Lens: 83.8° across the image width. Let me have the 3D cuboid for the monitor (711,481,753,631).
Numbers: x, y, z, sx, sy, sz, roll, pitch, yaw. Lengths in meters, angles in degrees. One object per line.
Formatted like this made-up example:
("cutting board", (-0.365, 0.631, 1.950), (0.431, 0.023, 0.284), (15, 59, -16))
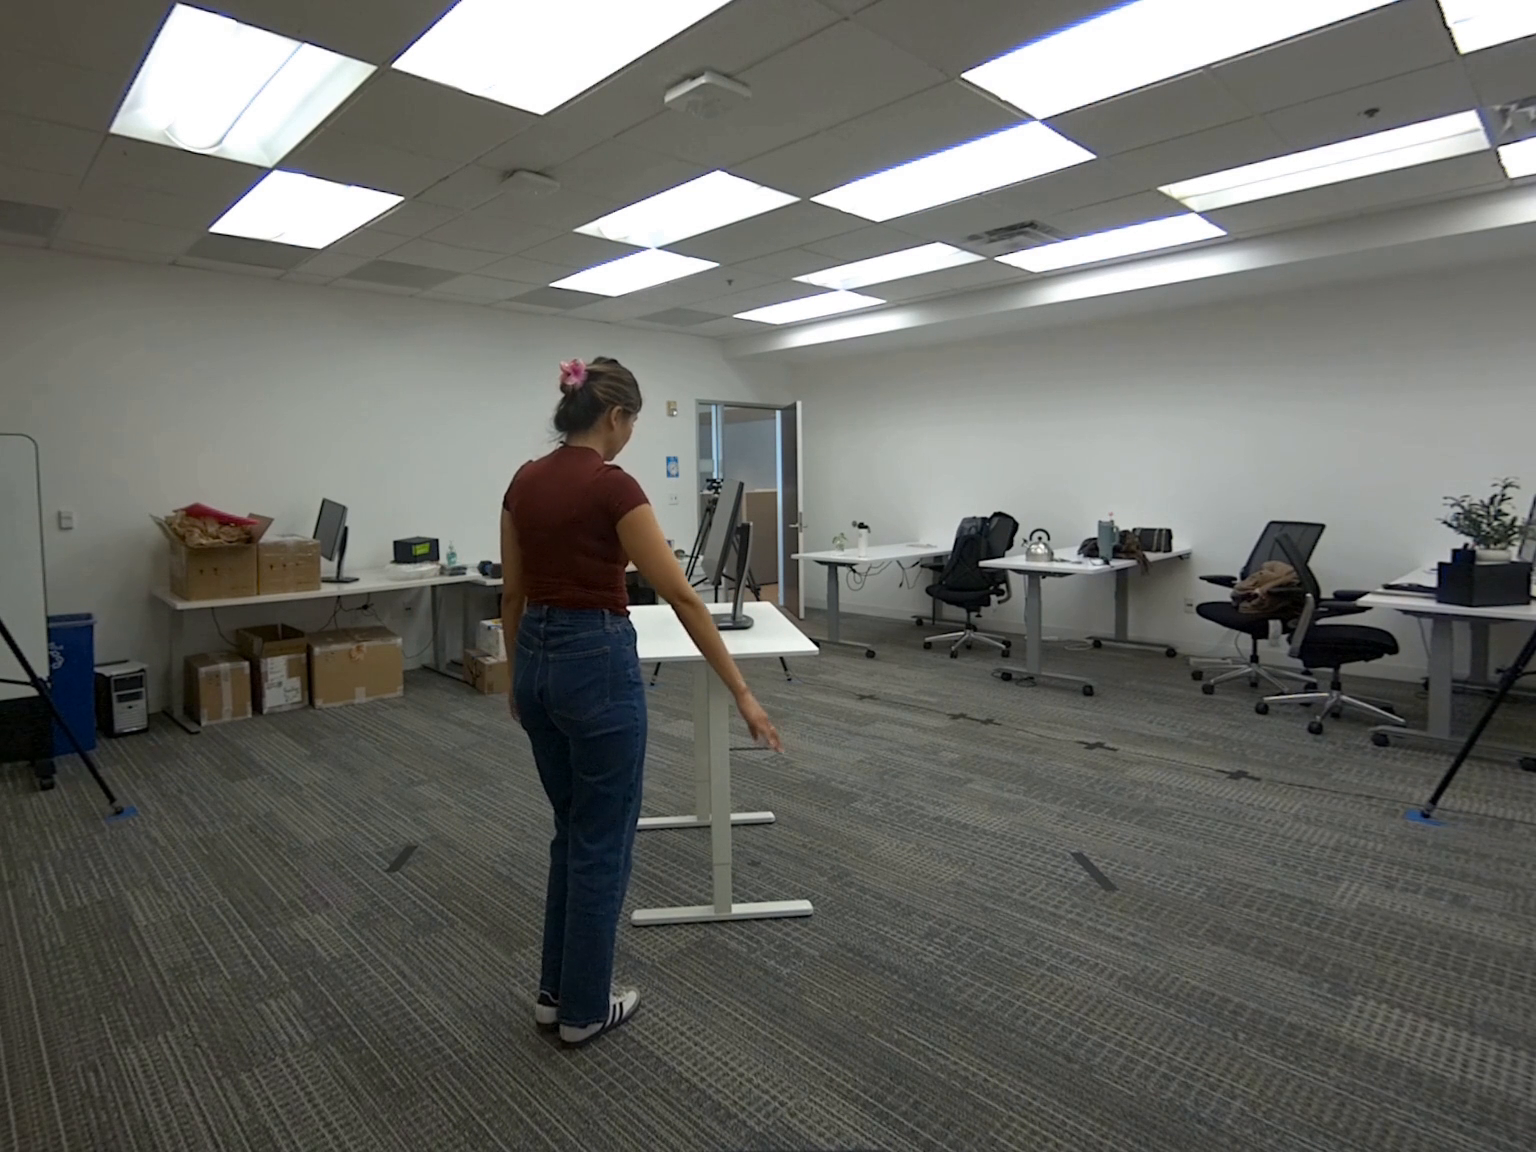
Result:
("monitor", (-0.137, -0.082, 3.044), (0.185, 0.520, 0.546), (1, 5, -11))
